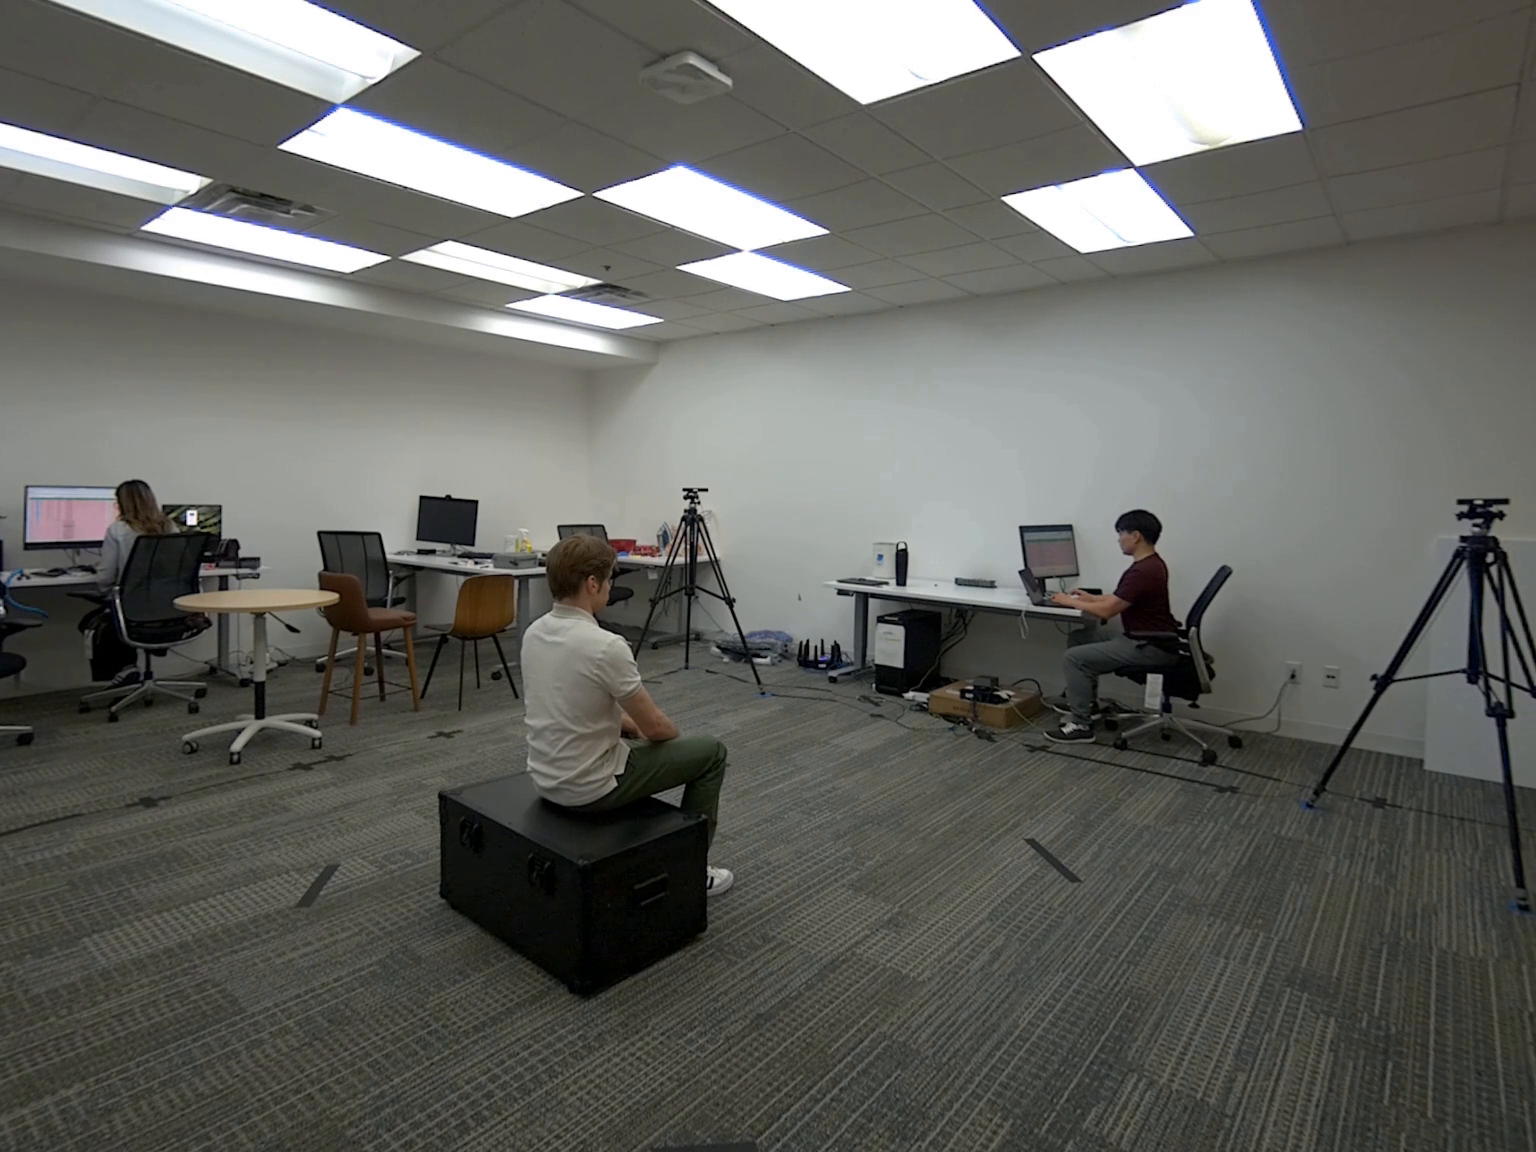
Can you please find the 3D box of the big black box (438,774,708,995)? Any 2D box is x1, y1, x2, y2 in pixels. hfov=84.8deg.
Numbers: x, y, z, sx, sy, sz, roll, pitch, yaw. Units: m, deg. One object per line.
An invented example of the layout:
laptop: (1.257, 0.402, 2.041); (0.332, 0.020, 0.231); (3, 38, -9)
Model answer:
big black box: (-0.670, 0.905, 2.742); (0.898, 0.383, 0.508); (6, 8, 42)
